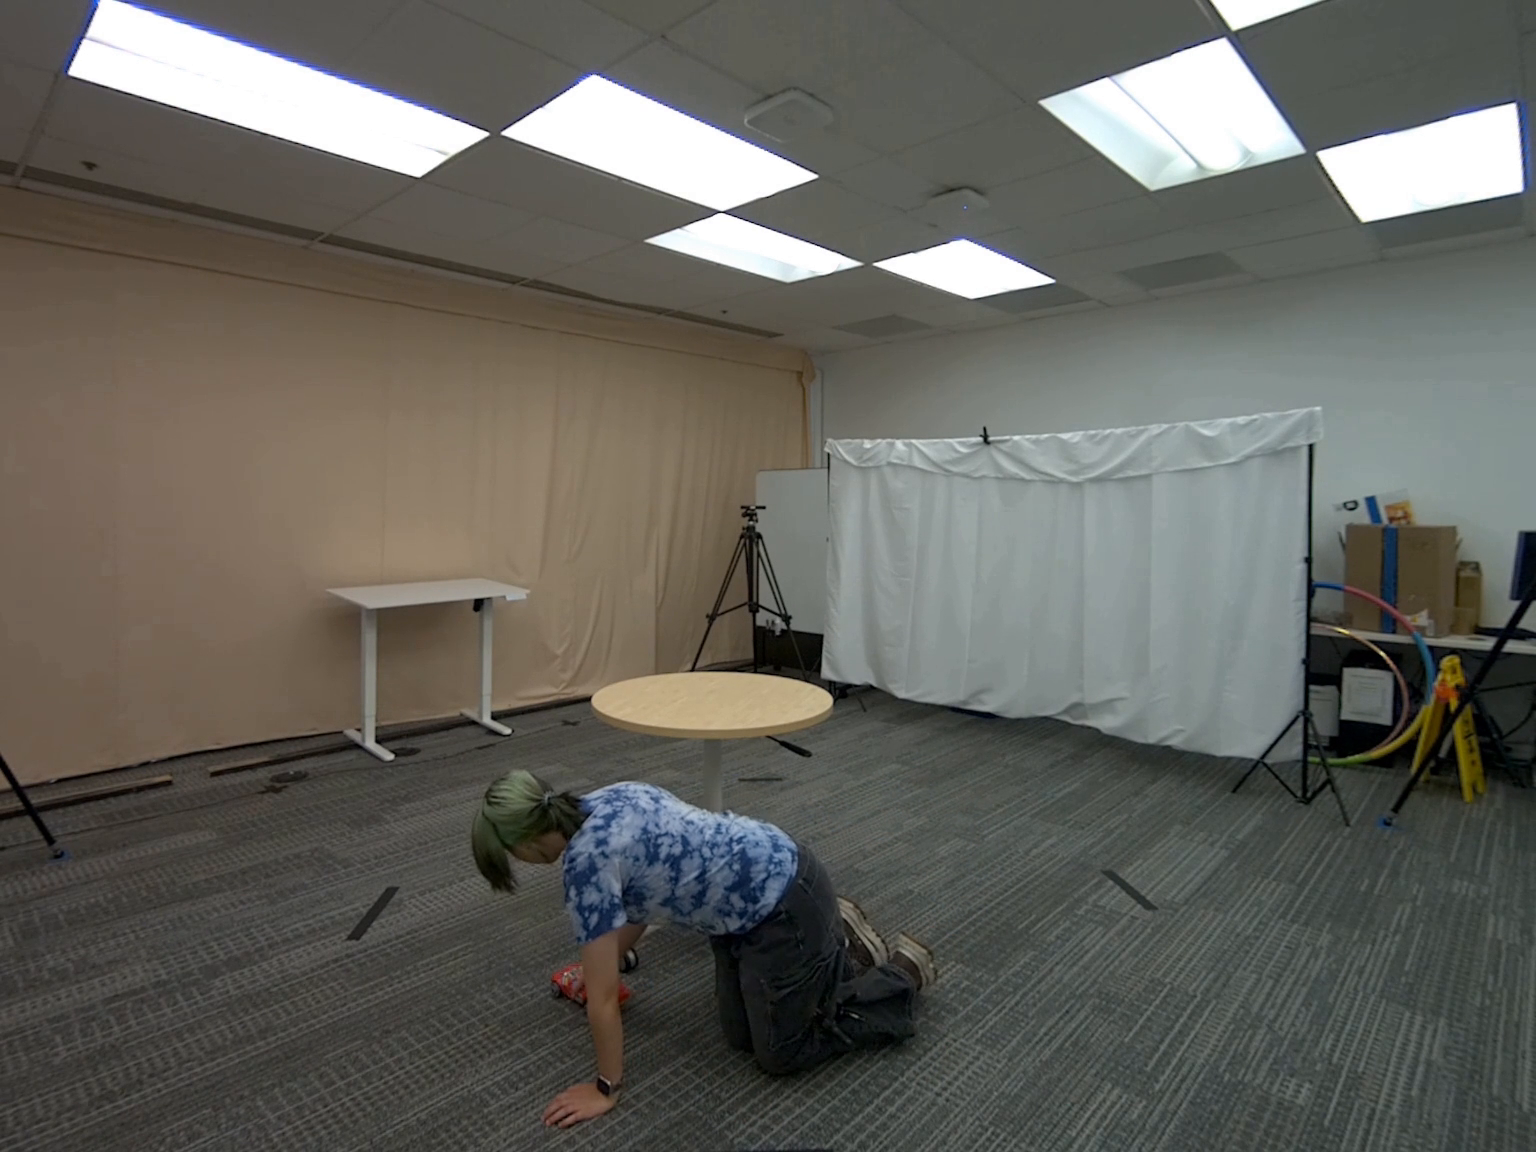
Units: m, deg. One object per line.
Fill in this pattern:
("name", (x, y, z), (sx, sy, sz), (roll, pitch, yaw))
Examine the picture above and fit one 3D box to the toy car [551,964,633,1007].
("toy car", (-0.496, 1.174, 2.369), (0.261, 0.083, 0.126), (-10, -2, 37))
